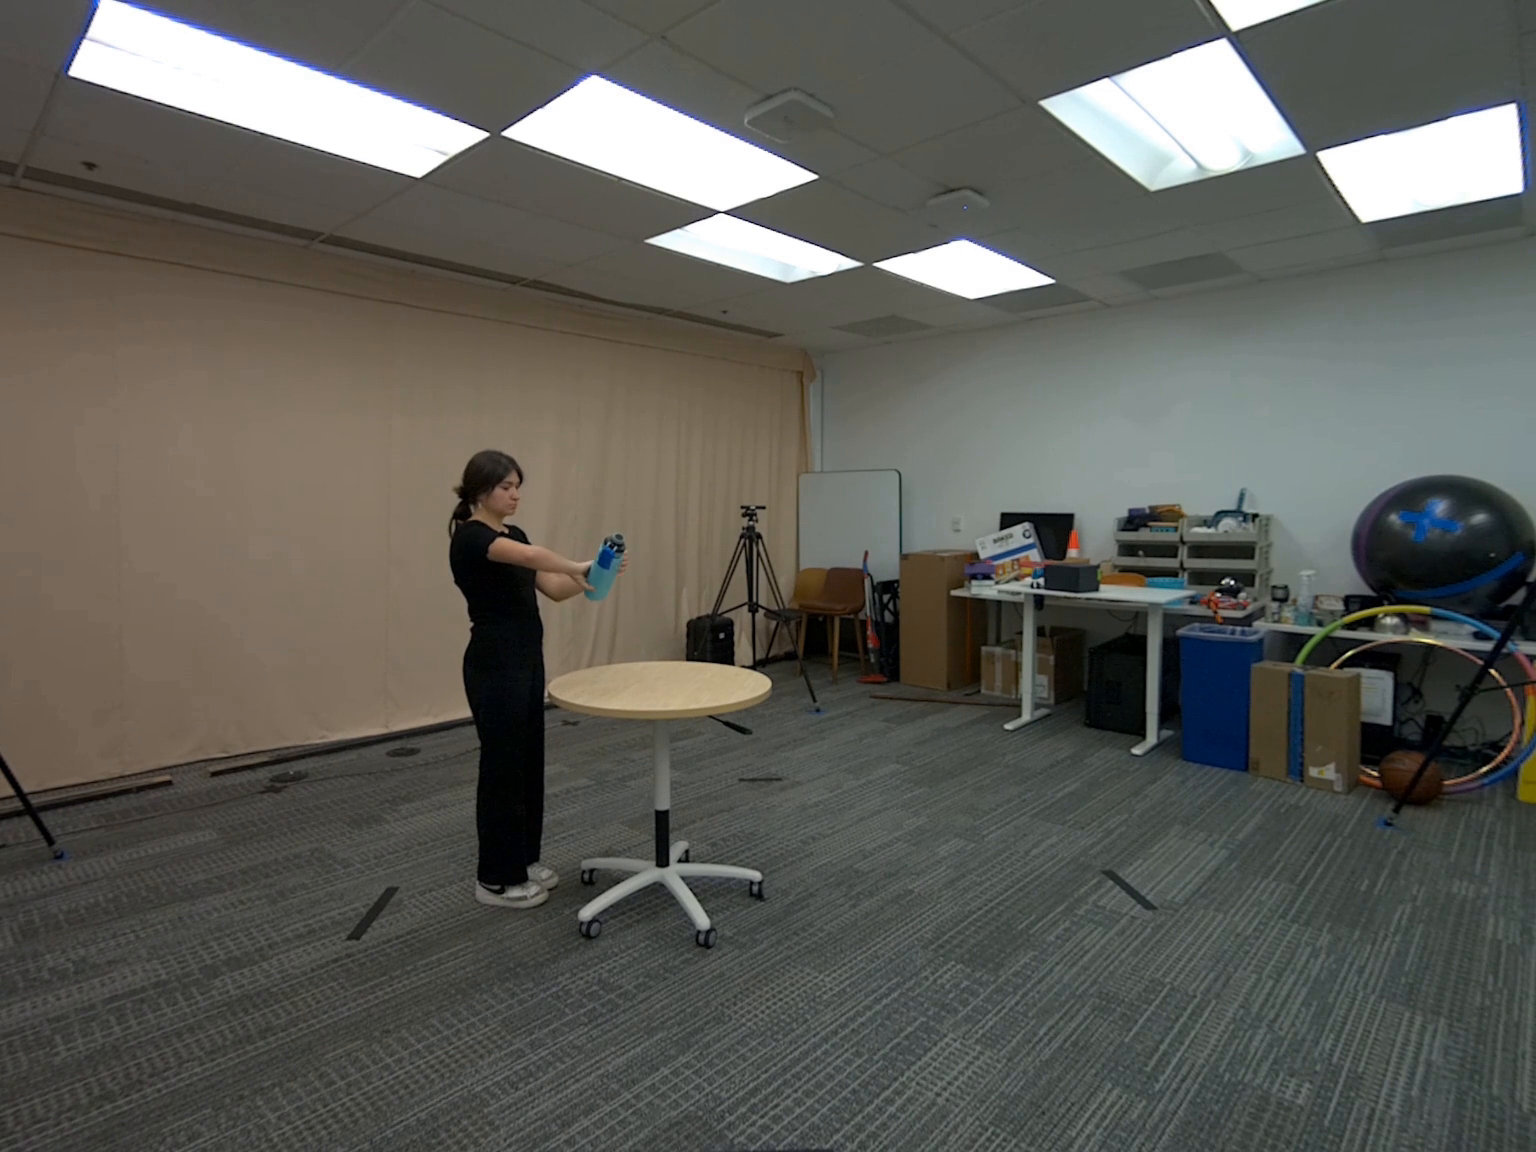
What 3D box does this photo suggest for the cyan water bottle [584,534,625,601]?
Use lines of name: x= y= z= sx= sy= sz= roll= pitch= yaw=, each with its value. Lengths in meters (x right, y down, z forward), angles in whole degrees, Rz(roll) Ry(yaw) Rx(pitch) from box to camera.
cyan water bottle: x=-0.571 y=-0.029 z=2.901 sx=0.090 sy=0.095 sz=0.282 roll=-1 pitch=-40 yaw=-26
